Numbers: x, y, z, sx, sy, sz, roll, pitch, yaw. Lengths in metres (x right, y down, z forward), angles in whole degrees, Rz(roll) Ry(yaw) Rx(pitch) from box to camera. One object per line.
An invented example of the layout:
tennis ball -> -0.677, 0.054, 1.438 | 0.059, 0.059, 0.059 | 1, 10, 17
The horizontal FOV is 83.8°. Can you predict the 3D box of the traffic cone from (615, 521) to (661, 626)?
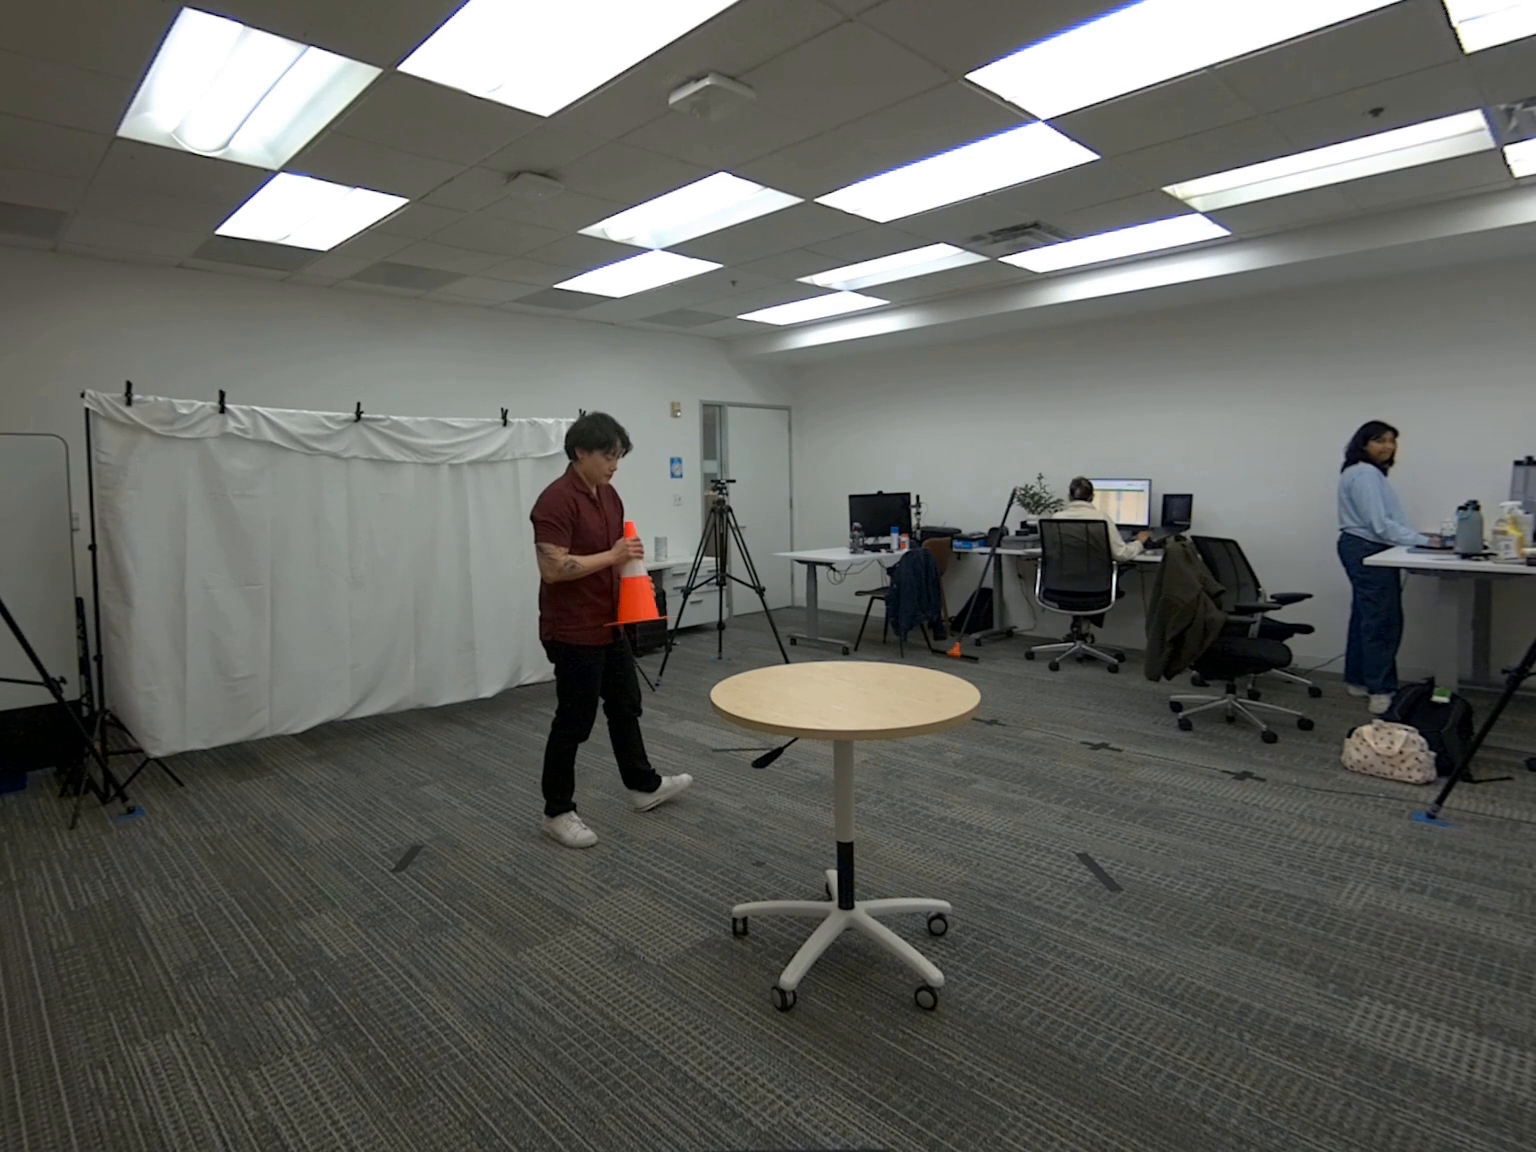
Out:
traffic cone -> -0.516, -0.020, 3.258 | 0.206, 0.385, 0.201 | -6, -3, 18
